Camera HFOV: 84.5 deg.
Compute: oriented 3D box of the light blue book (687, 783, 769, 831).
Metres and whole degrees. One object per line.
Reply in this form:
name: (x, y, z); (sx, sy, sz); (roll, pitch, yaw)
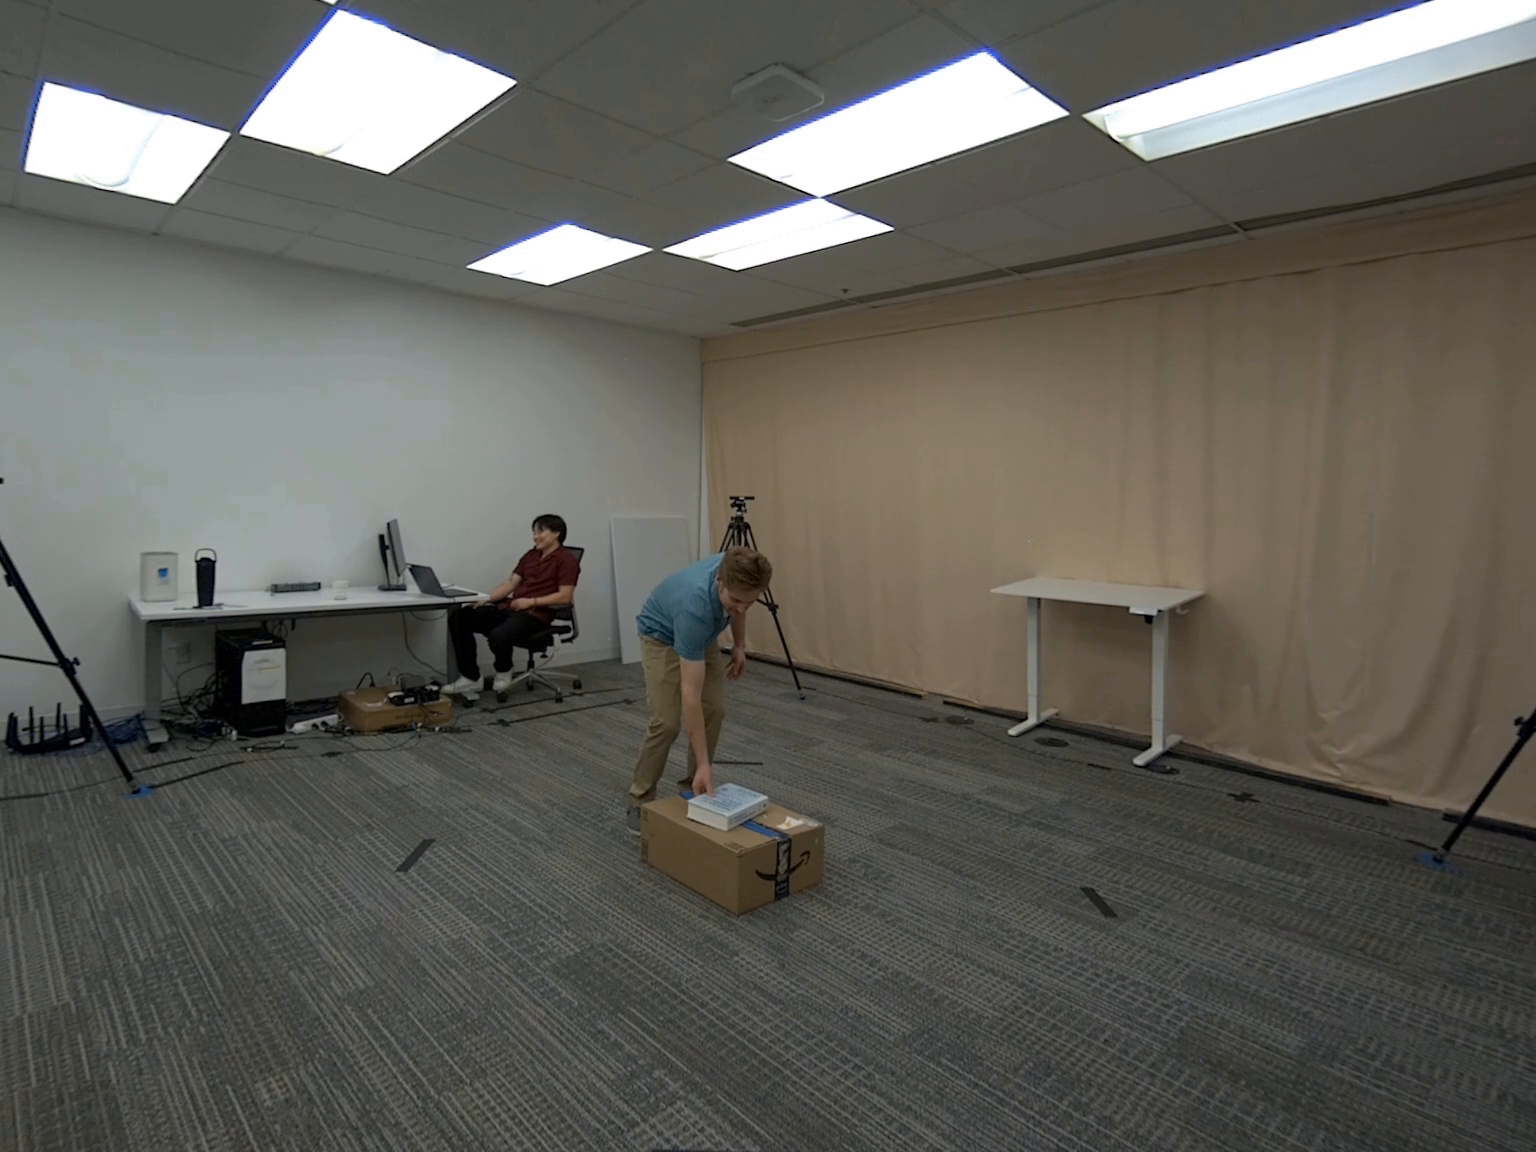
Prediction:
light blue book: (-0.159, 0.849, 3.133); (0.196, 0.059, 0.255); (9, 8, 34)
